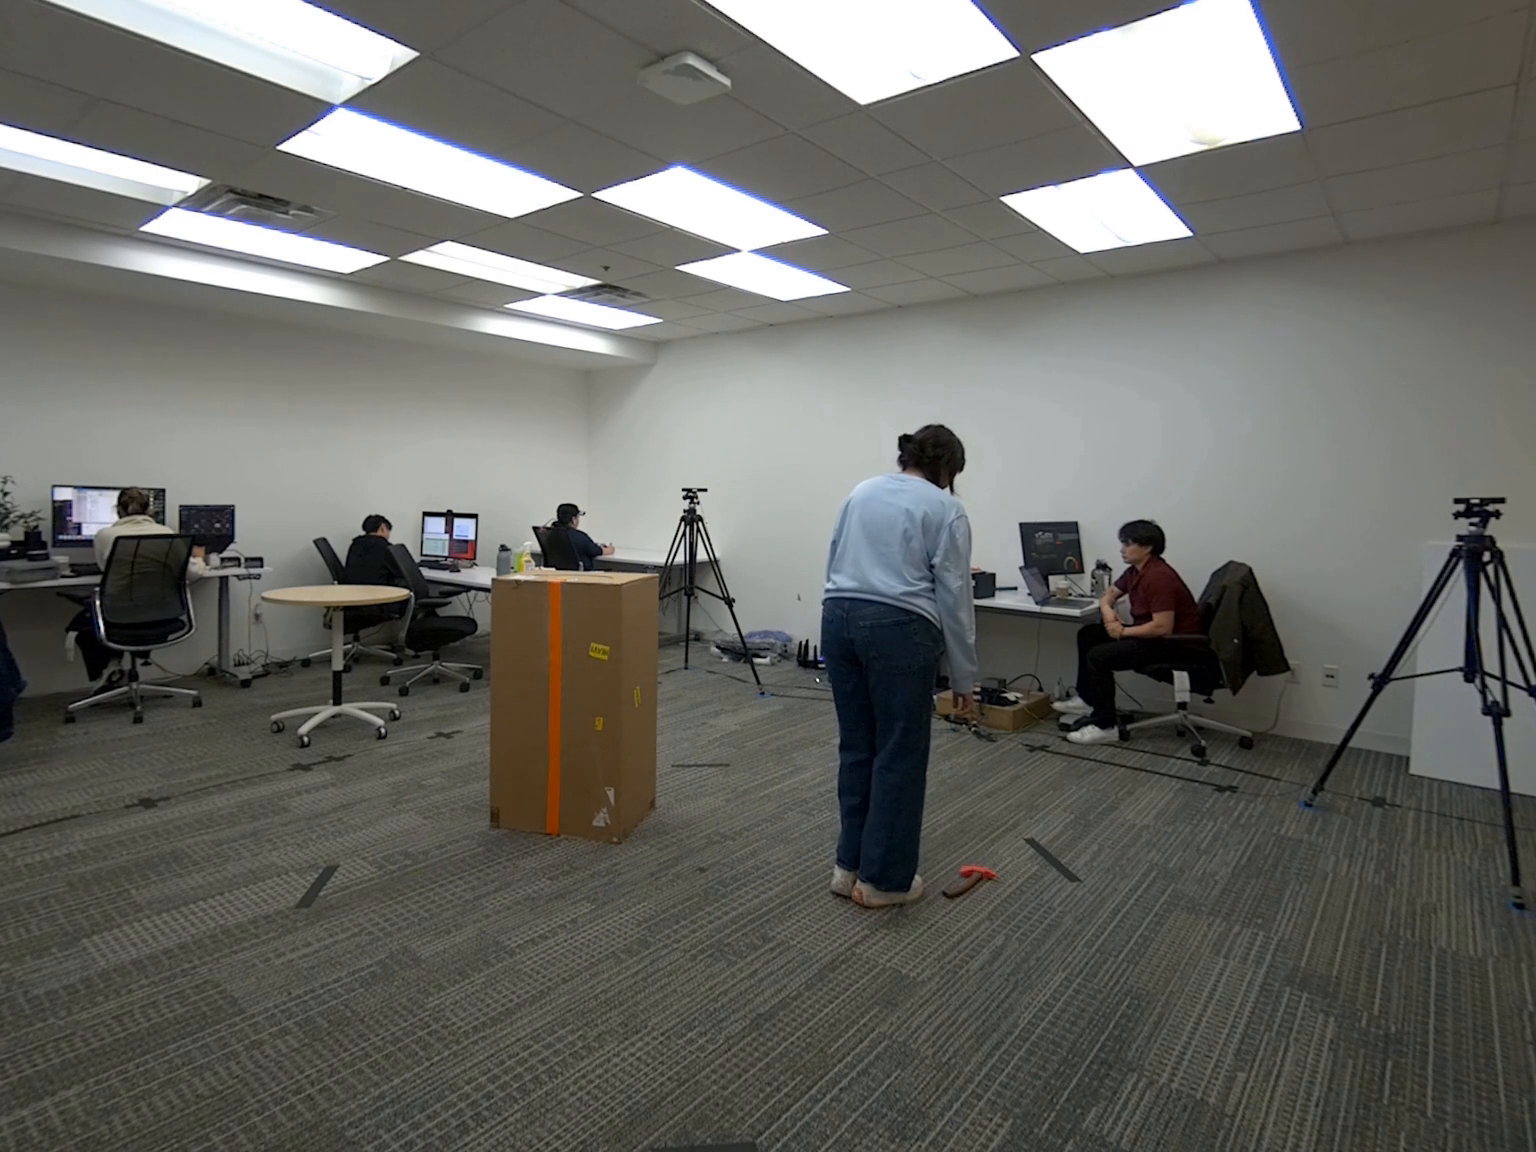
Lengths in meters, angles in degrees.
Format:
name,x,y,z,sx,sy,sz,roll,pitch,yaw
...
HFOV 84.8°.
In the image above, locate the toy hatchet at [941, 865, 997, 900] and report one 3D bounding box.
name,x,y,z,sx,sy,sz,roll,pitch,yaw
toy hatchet,0.690,1.091,3.049,0.262,0.029,0.135,-5,9,-35
